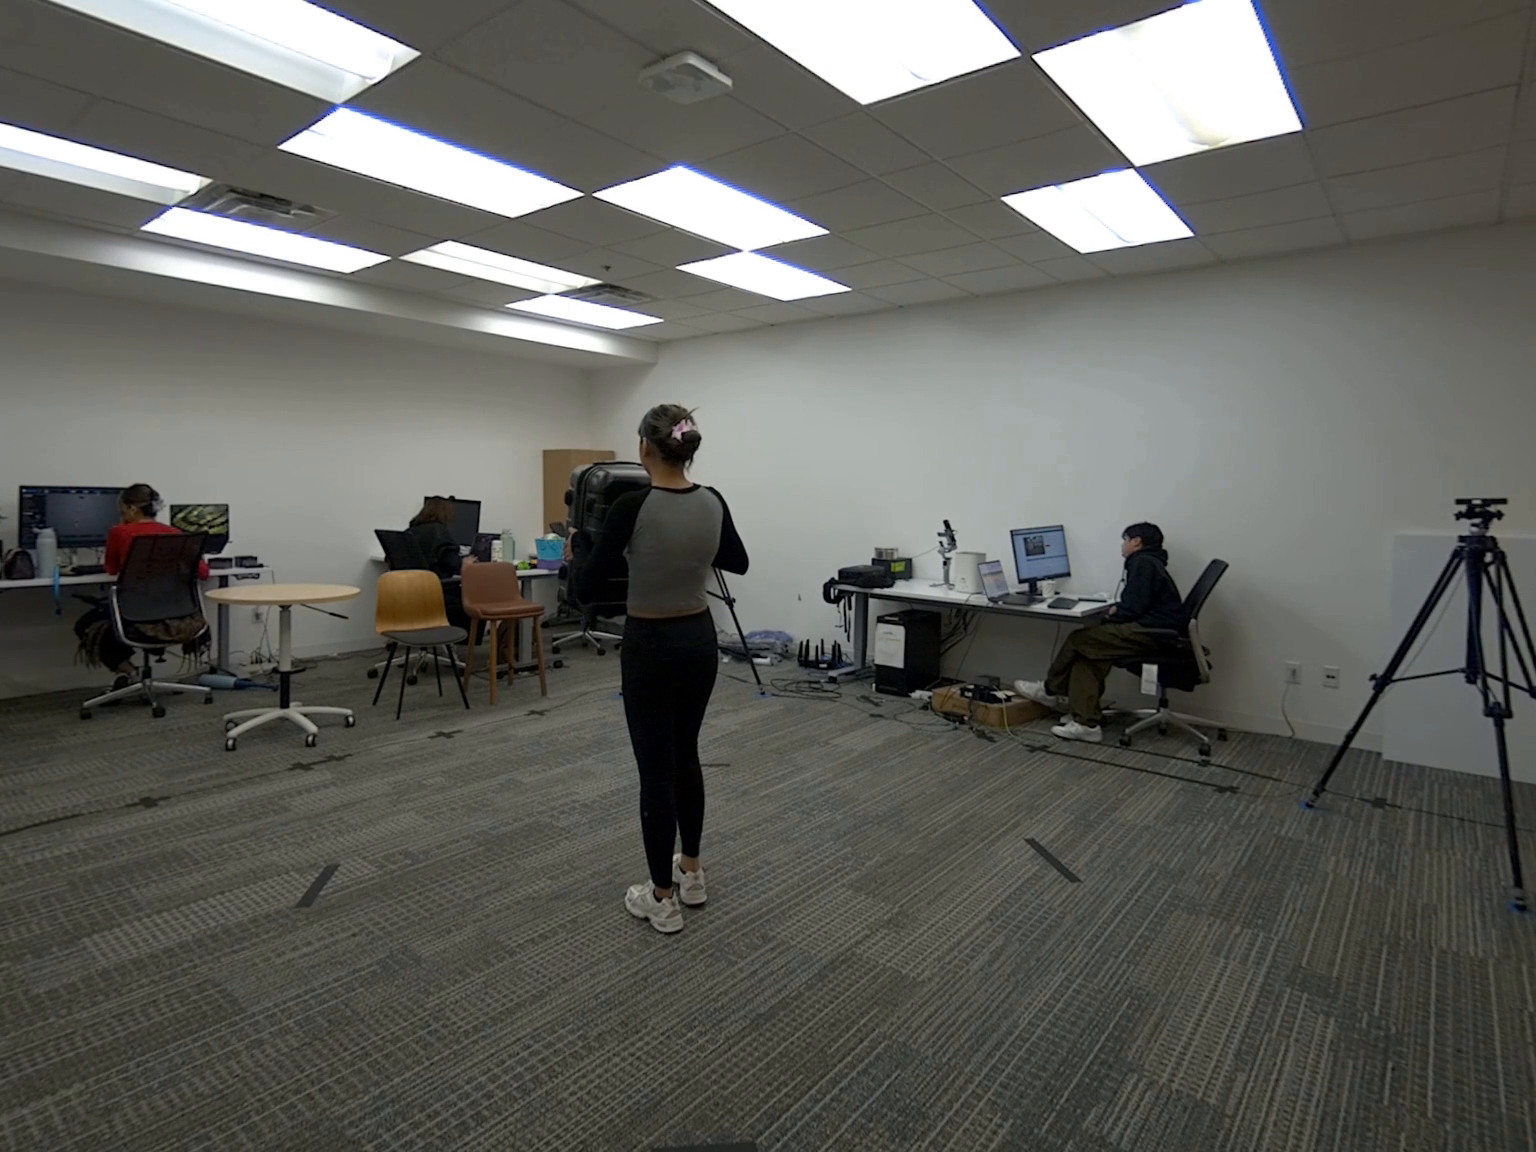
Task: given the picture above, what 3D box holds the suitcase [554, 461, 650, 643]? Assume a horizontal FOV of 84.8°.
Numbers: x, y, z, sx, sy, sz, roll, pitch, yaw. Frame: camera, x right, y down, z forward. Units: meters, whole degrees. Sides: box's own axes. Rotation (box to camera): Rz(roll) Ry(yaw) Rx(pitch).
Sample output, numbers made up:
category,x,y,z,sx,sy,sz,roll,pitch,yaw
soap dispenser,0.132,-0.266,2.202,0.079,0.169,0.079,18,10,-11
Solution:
category,x,y,z,sx,sy,sz,roll,pitch,yaw
suitcase,-0.507,-0.112,2.901,0.364,0.545,0.258,0,12,-37
